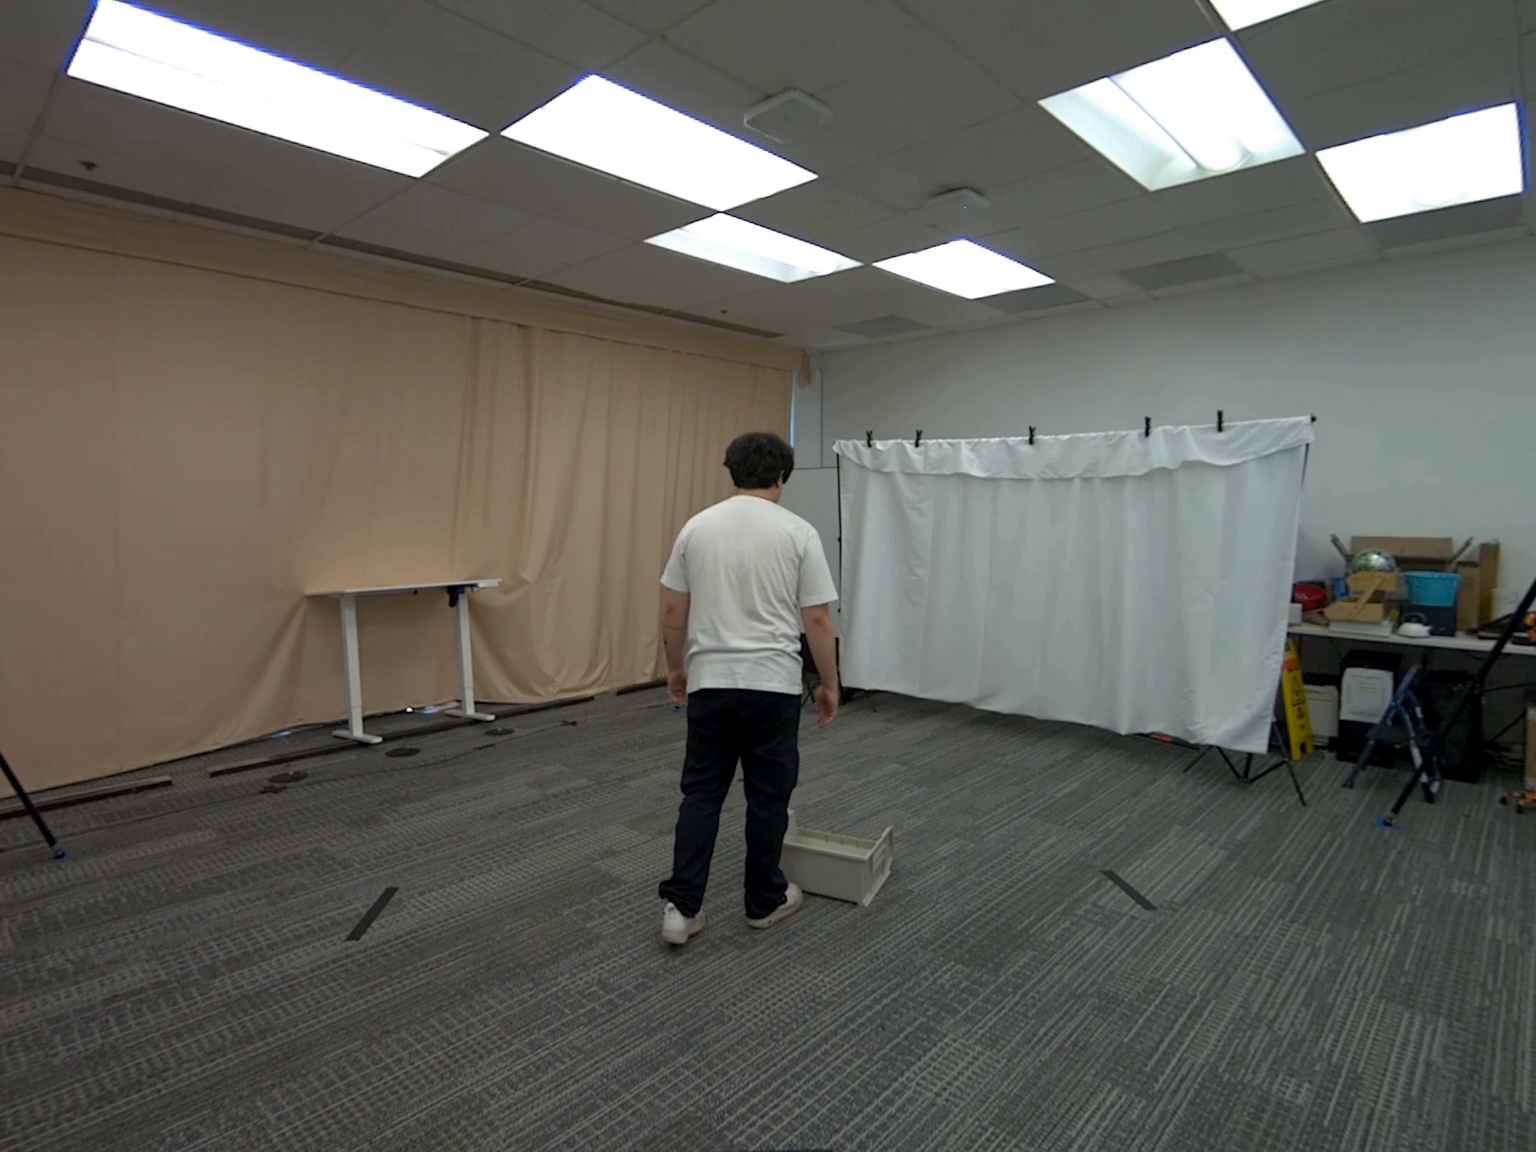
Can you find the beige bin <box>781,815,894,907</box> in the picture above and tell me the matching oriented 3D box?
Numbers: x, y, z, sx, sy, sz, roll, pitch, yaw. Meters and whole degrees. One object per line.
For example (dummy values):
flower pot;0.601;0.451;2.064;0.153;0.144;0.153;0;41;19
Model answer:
beige bin;0.225;1.039;3.157;0.433;0.188;0.369;2;6;25
